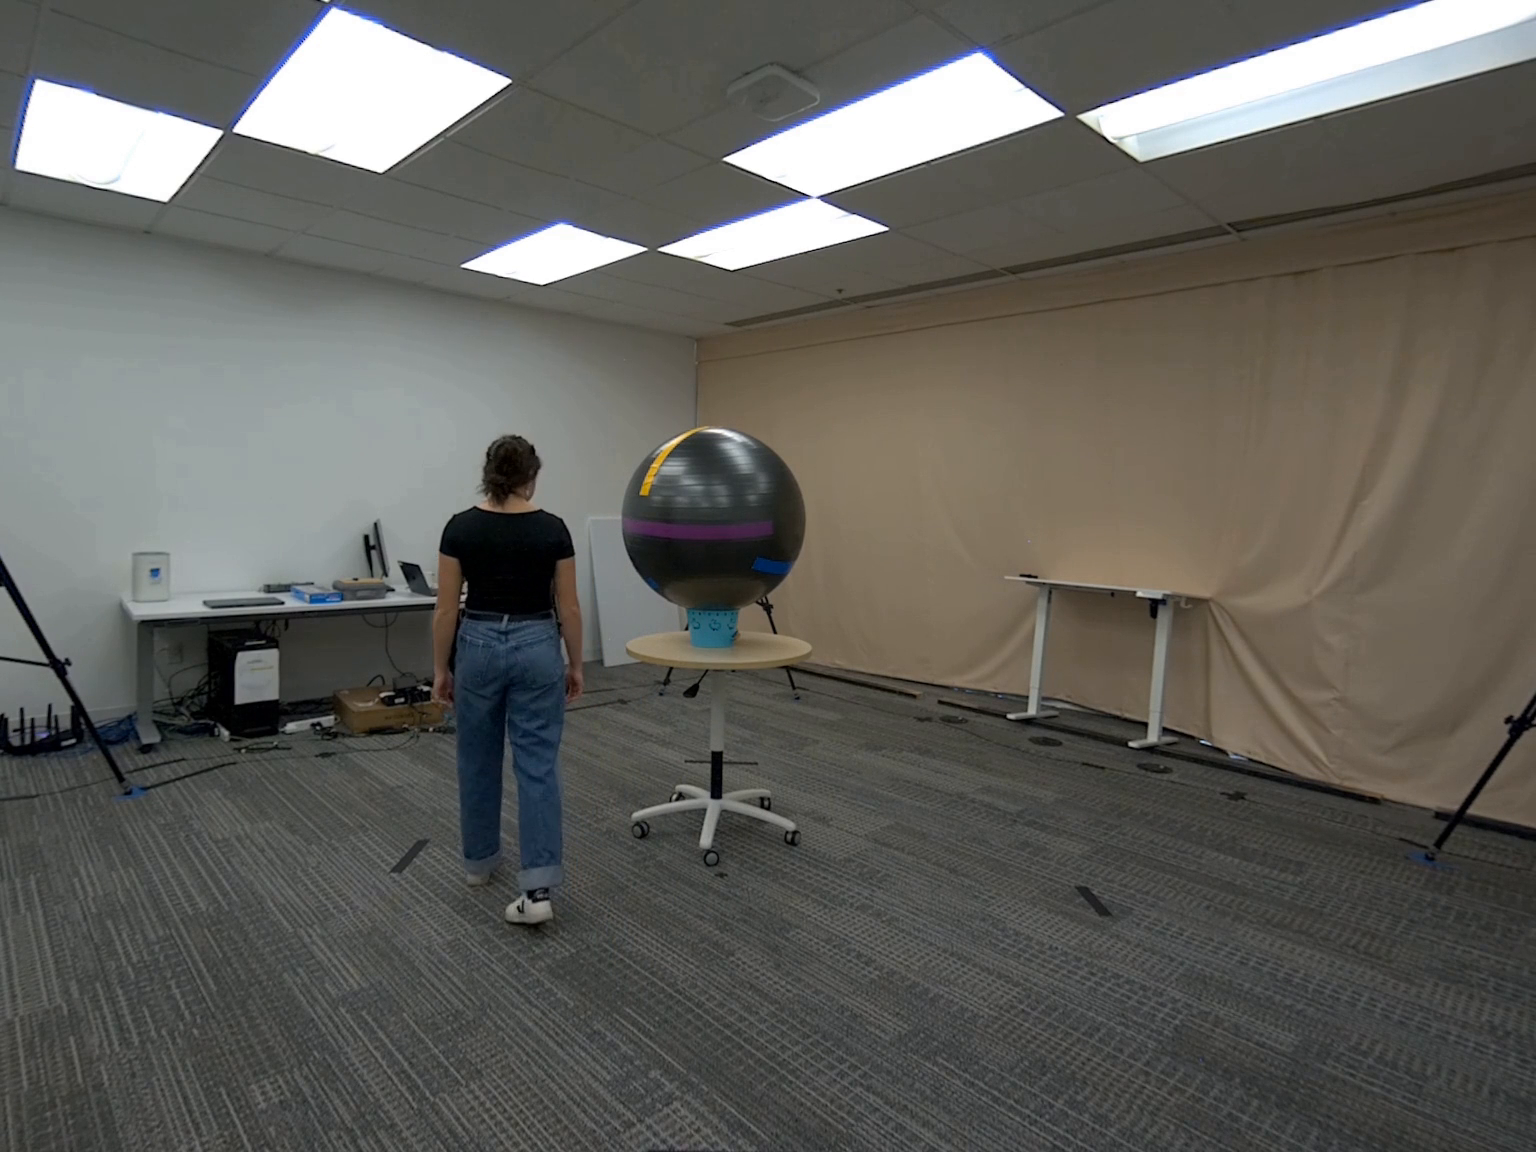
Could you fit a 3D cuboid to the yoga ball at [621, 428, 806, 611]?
[{"bbox_3d":[-0.227,-0.228,3.487,0.757,0.756,0.761,1,4,-1],"label":"yoga ball"}]
